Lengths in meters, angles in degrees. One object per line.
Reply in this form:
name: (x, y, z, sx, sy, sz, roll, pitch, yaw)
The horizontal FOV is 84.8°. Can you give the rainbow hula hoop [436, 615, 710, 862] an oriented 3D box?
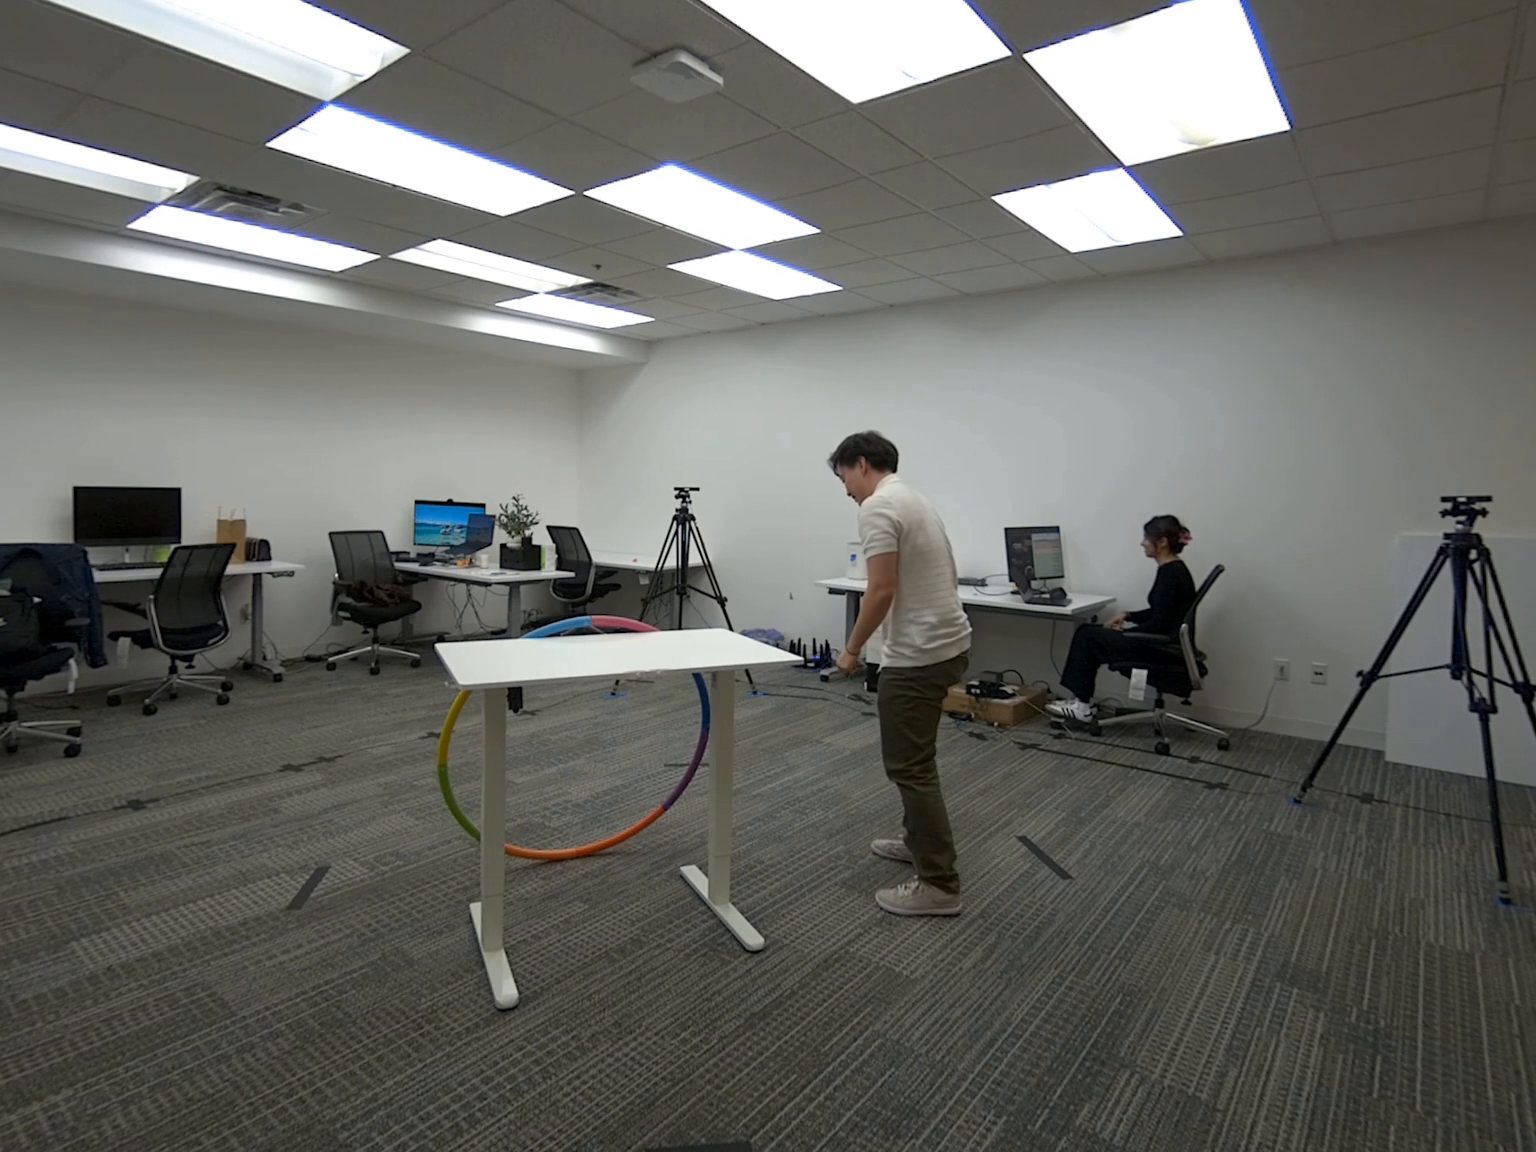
rainbow hula hoop: (-0.687, 0.602, 3.048, 0.956, 0.965, 0.037, -1, 20, -24)
